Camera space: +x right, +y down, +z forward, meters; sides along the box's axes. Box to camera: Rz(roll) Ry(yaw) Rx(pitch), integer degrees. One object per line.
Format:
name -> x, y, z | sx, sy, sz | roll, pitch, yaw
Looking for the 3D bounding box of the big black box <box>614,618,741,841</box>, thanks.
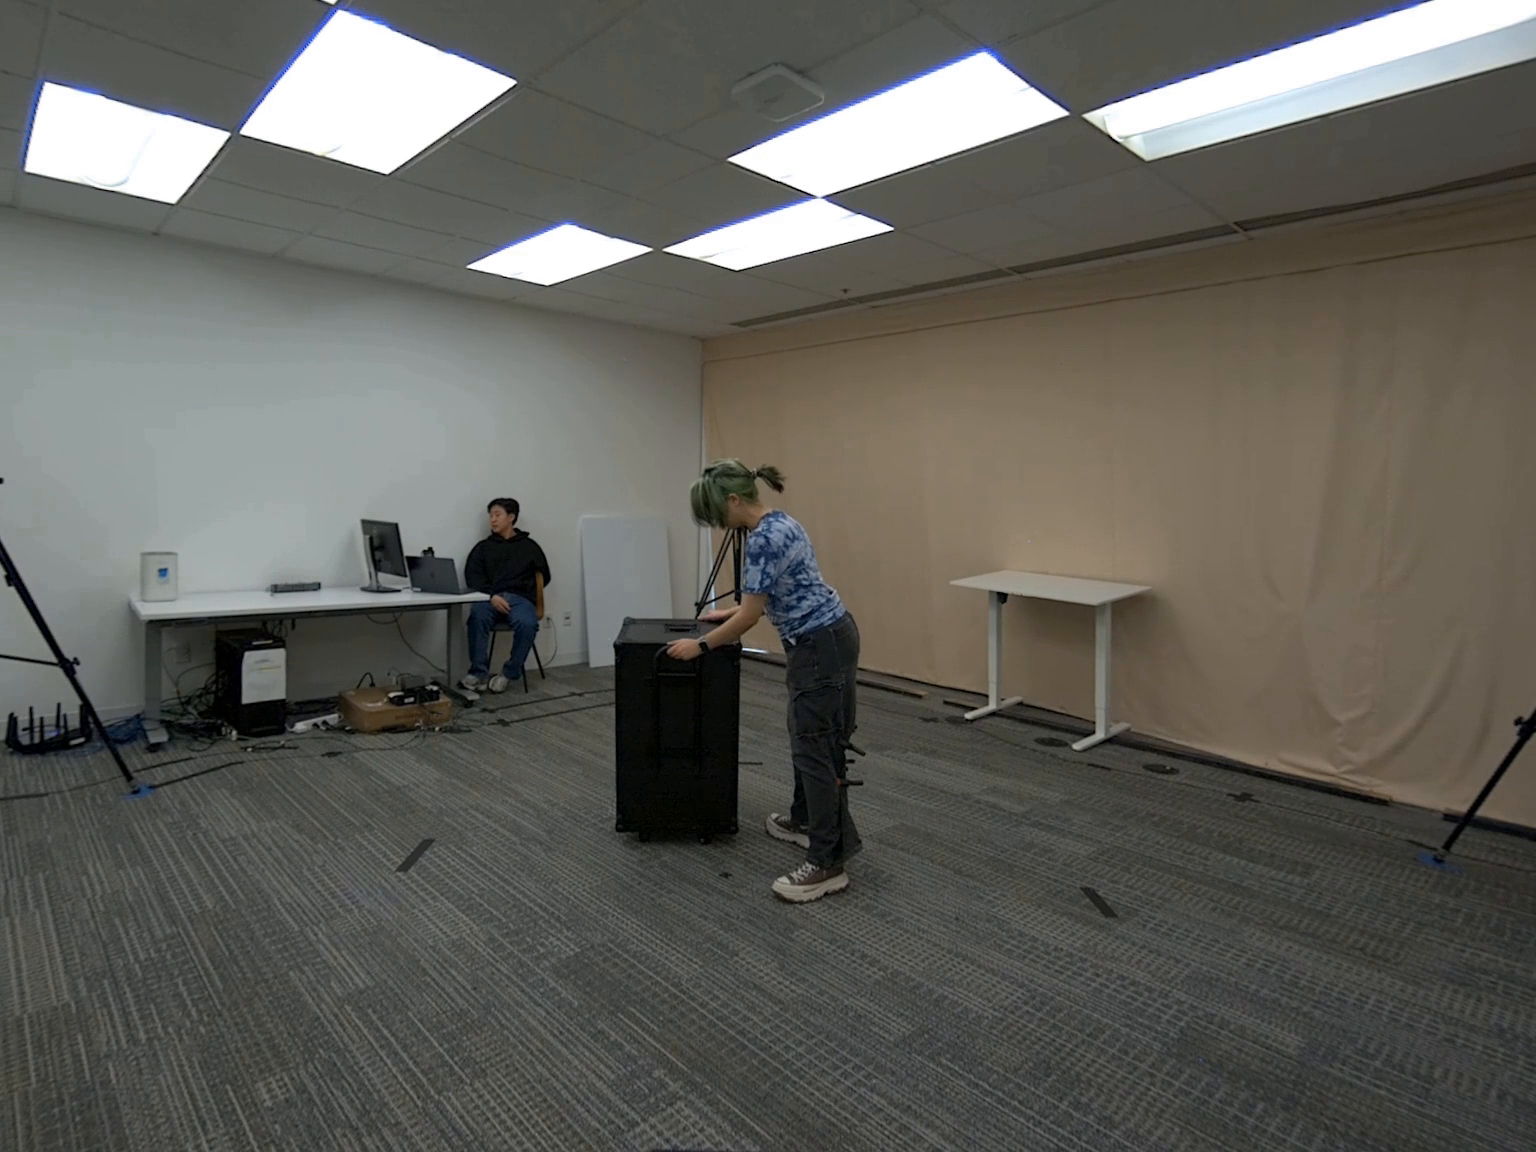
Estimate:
big black box -> -0.364, 0.643, 3.428 | 0.521, 0.854, 0.399 | 2, 11, 0
